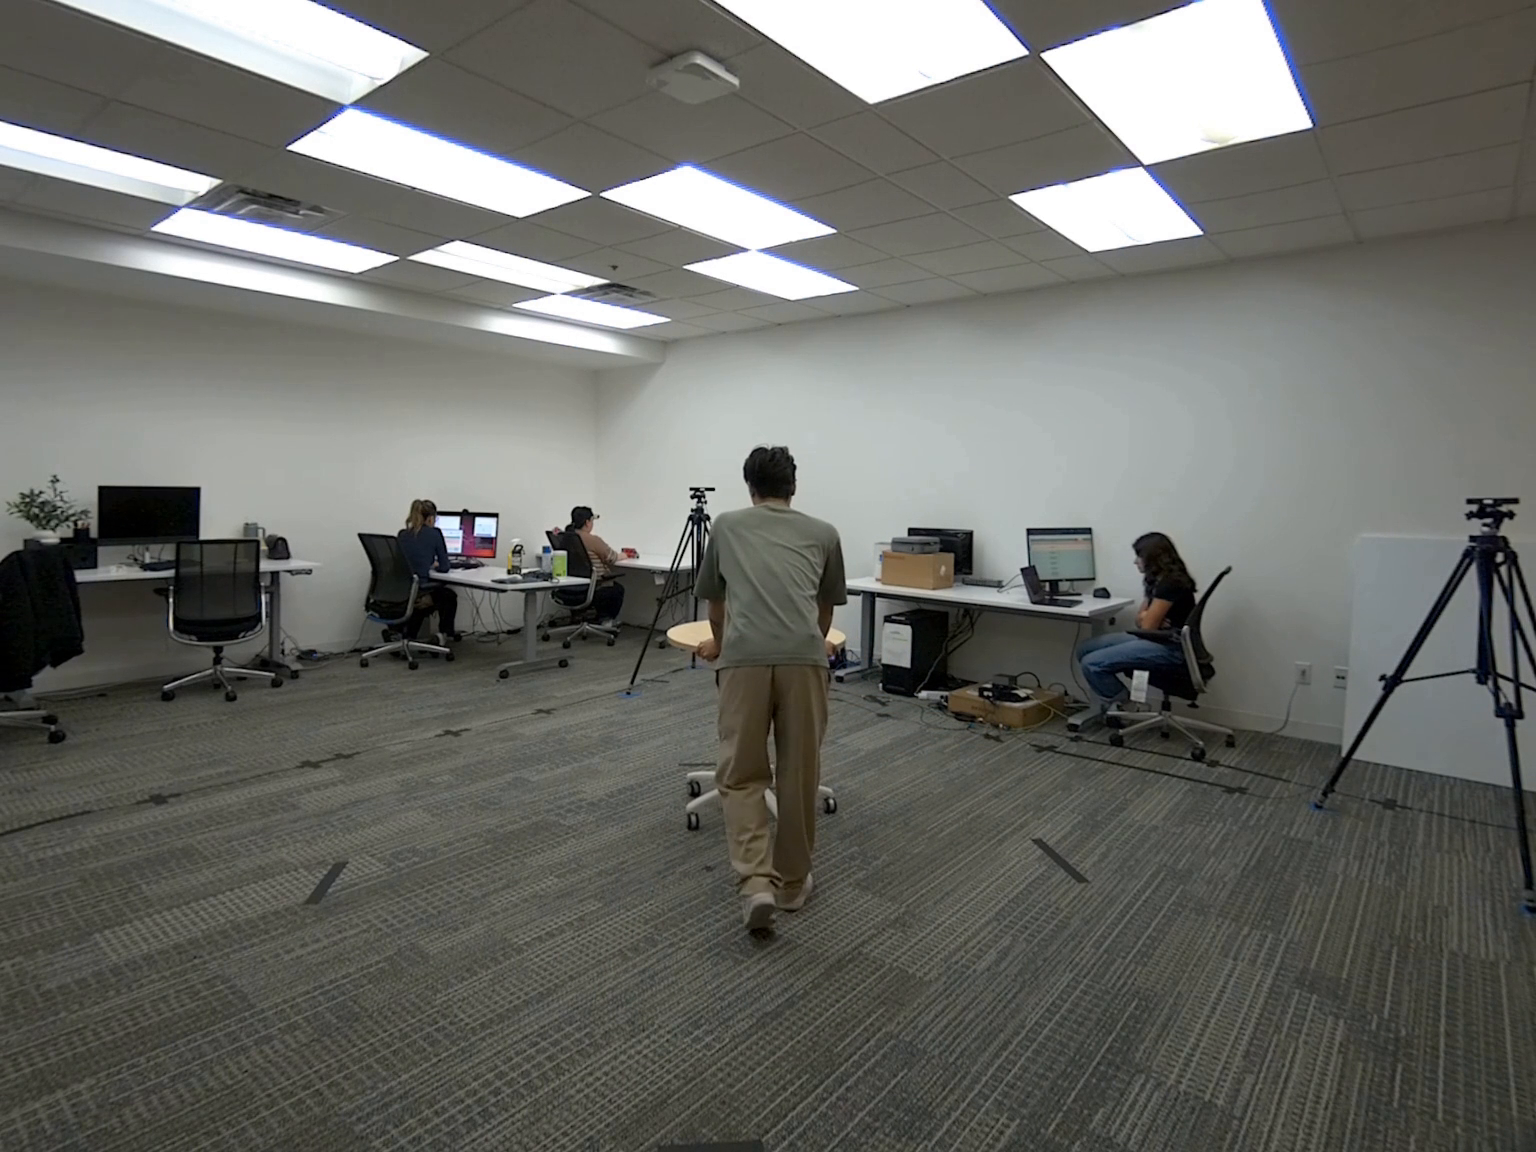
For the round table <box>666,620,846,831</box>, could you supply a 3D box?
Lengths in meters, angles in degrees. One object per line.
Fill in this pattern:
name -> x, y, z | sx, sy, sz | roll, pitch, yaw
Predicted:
round table -> -0.059, 0.623, 3.679 | 0.784, 0.784, 0.789 | 1, 5, -2
